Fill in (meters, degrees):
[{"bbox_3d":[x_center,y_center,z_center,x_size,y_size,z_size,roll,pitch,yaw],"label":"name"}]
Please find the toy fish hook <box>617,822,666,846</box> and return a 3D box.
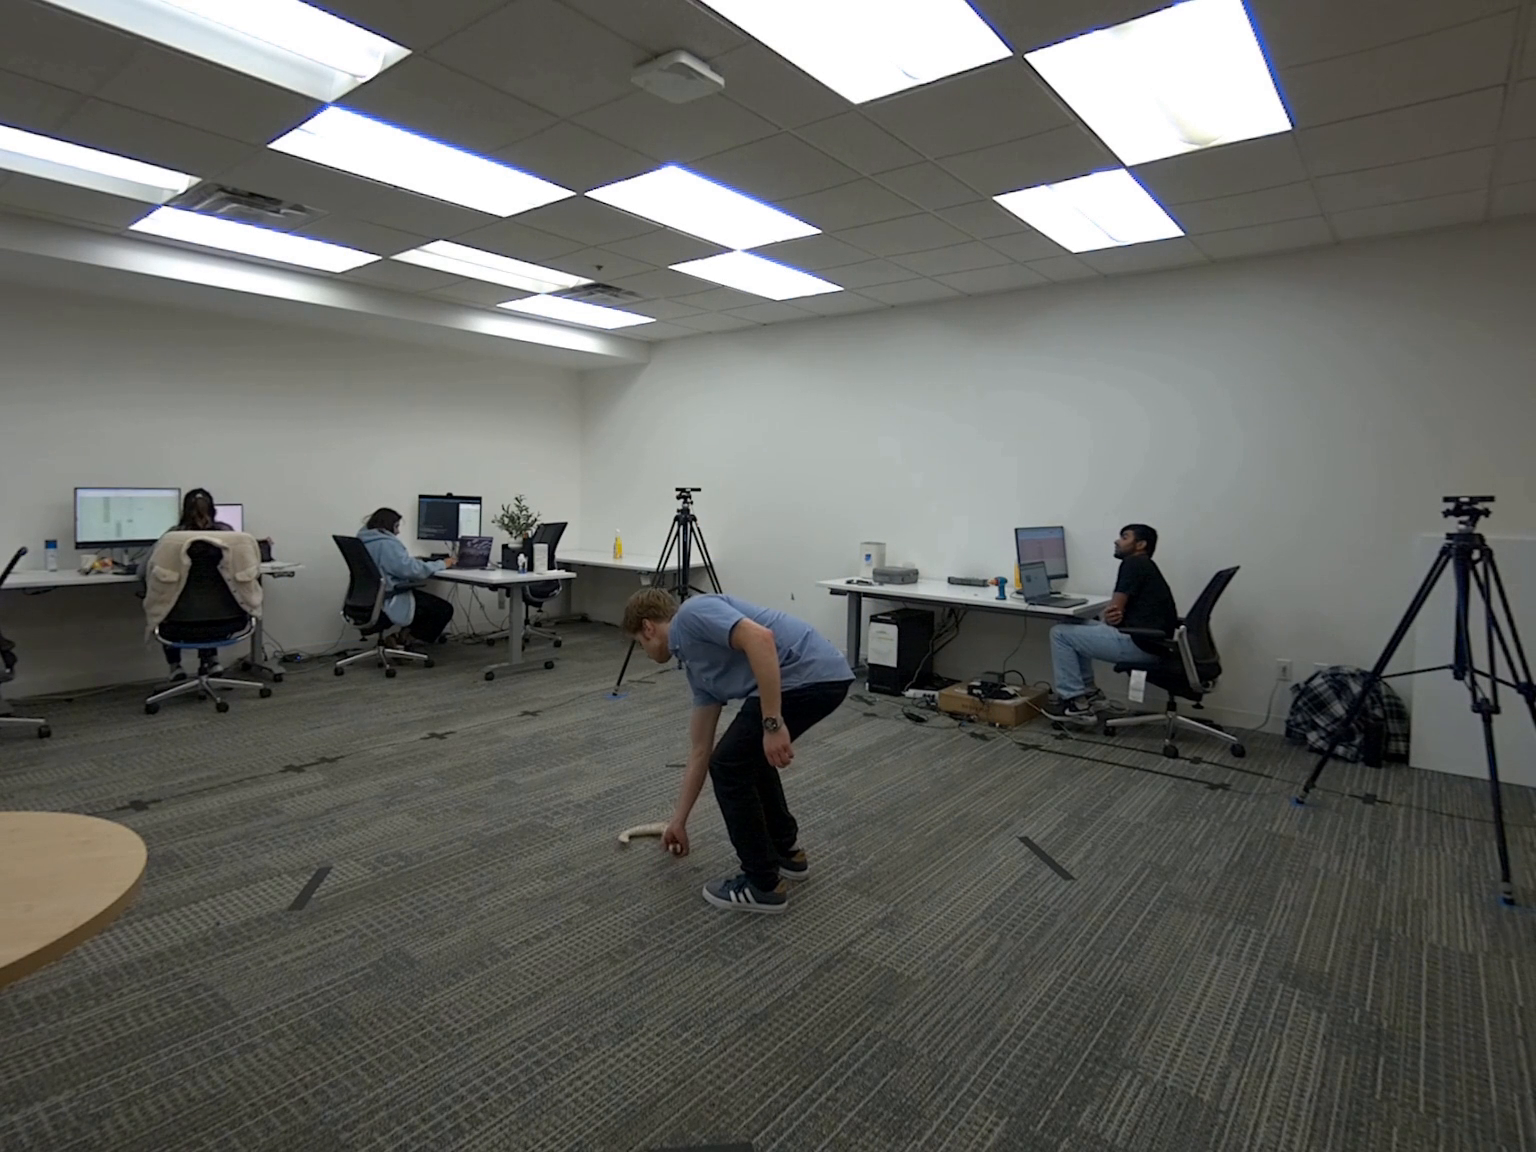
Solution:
[{"bbox_3d":[-0.453,0.995,3.207,0.222,0.048,0.509,-9,-4,-14],"label":"toy fish hook"}]
